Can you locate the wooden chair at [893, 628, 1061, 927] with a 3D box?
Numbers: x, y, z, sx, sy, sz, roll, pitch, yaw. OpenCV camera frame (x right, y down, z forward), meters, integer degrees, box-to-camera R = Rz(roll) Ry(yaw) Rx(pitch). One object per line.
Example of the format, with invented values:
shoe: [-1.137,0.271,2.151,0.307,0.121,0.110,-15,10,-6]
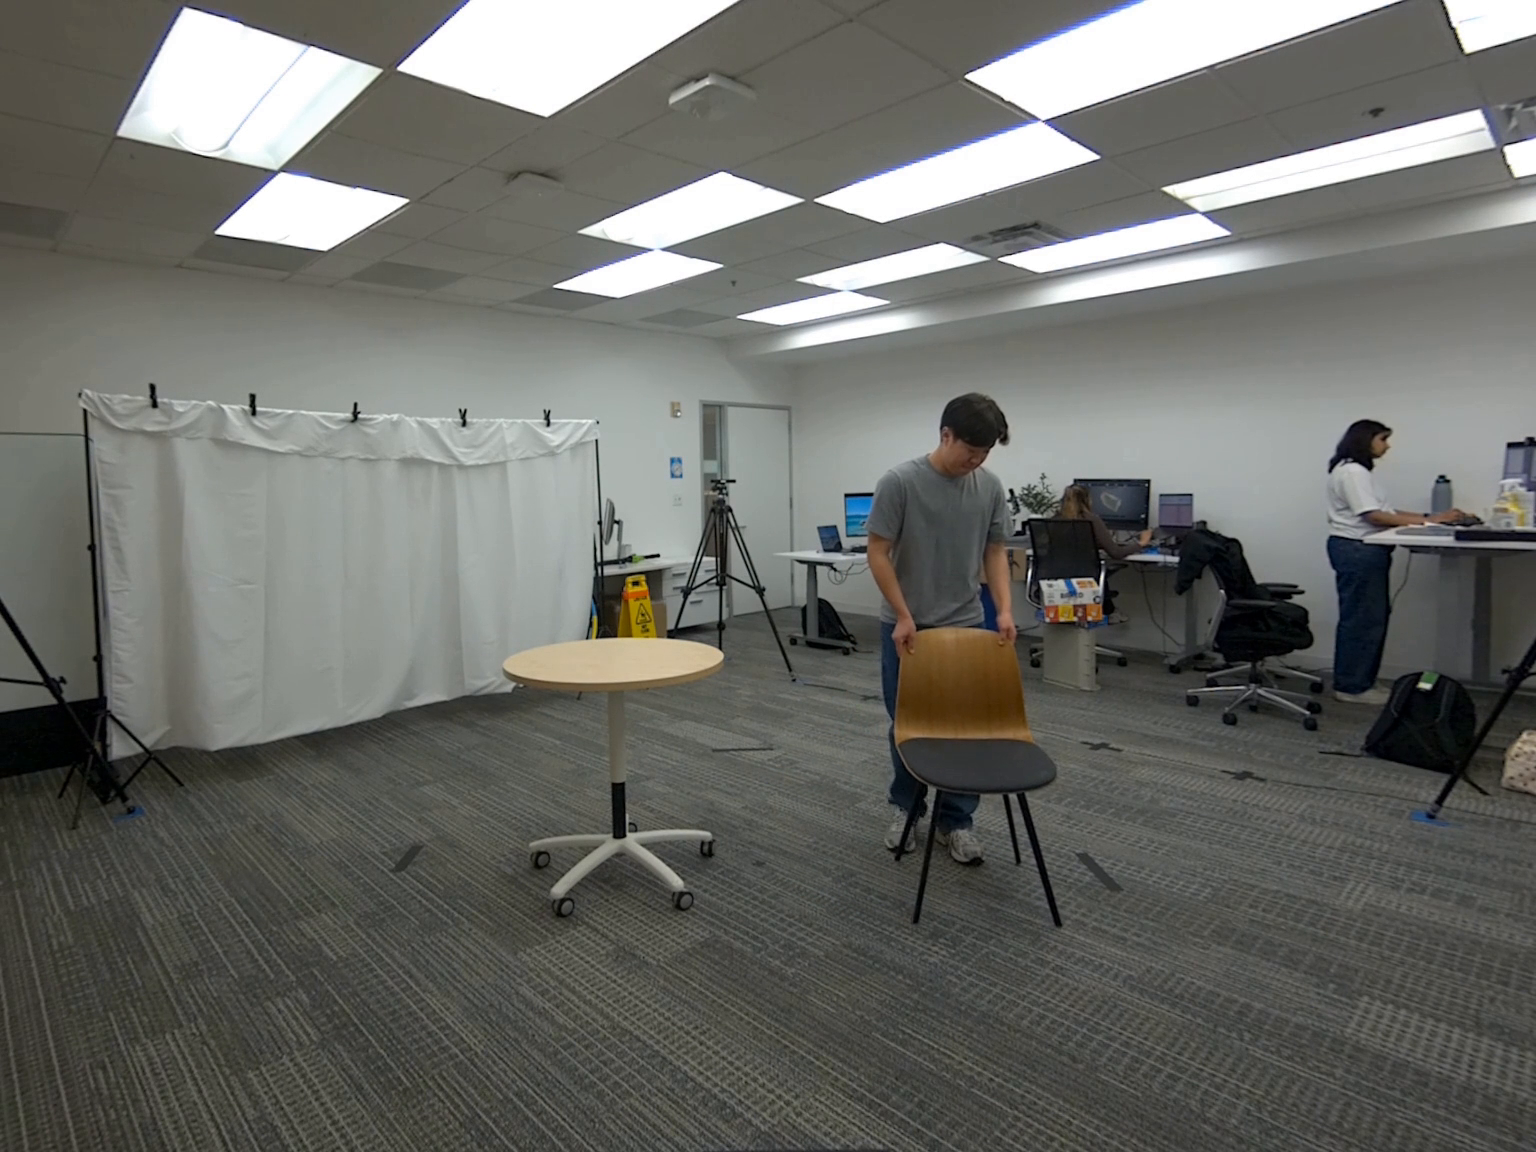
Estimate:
wooden chair: [0.670,0.633,2.833,0.480,0.878,0.521,0,0,3]
